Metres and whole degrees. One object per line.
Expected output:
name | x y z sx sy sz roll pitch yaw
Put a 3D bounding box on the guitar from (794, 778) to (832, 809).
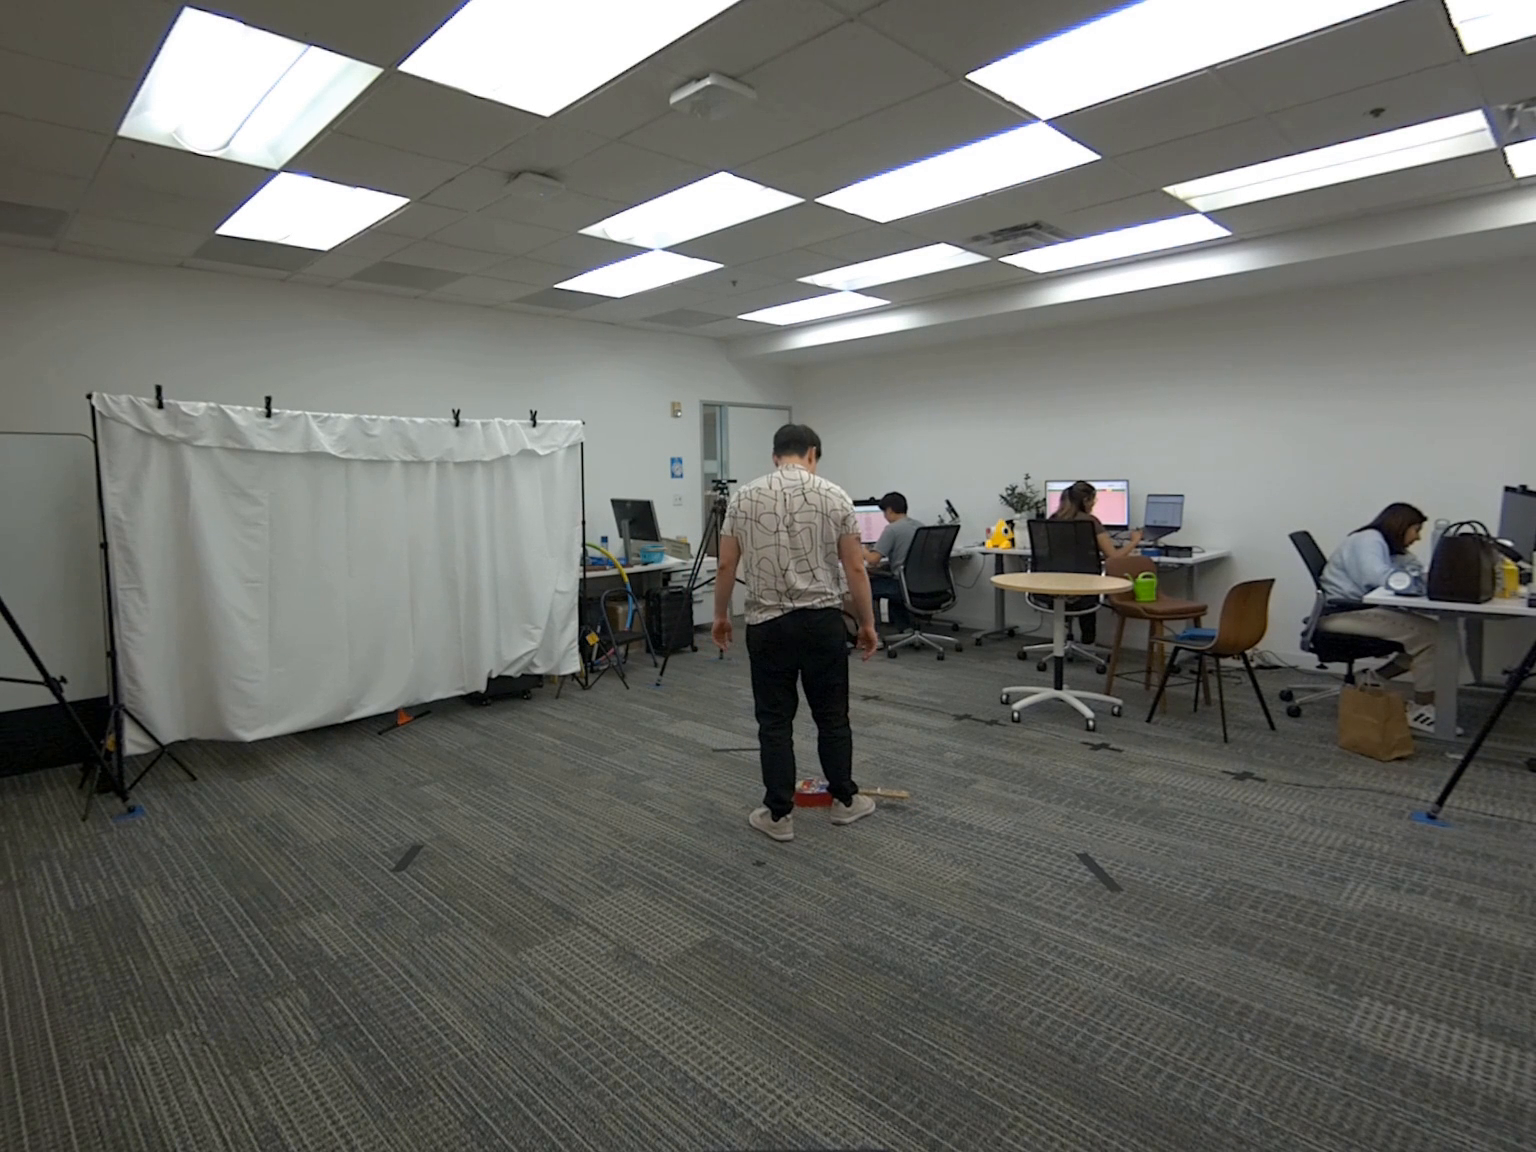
guitar | 0.348 0.944 3.652 0.509 0.070 0.189 2 6 25
